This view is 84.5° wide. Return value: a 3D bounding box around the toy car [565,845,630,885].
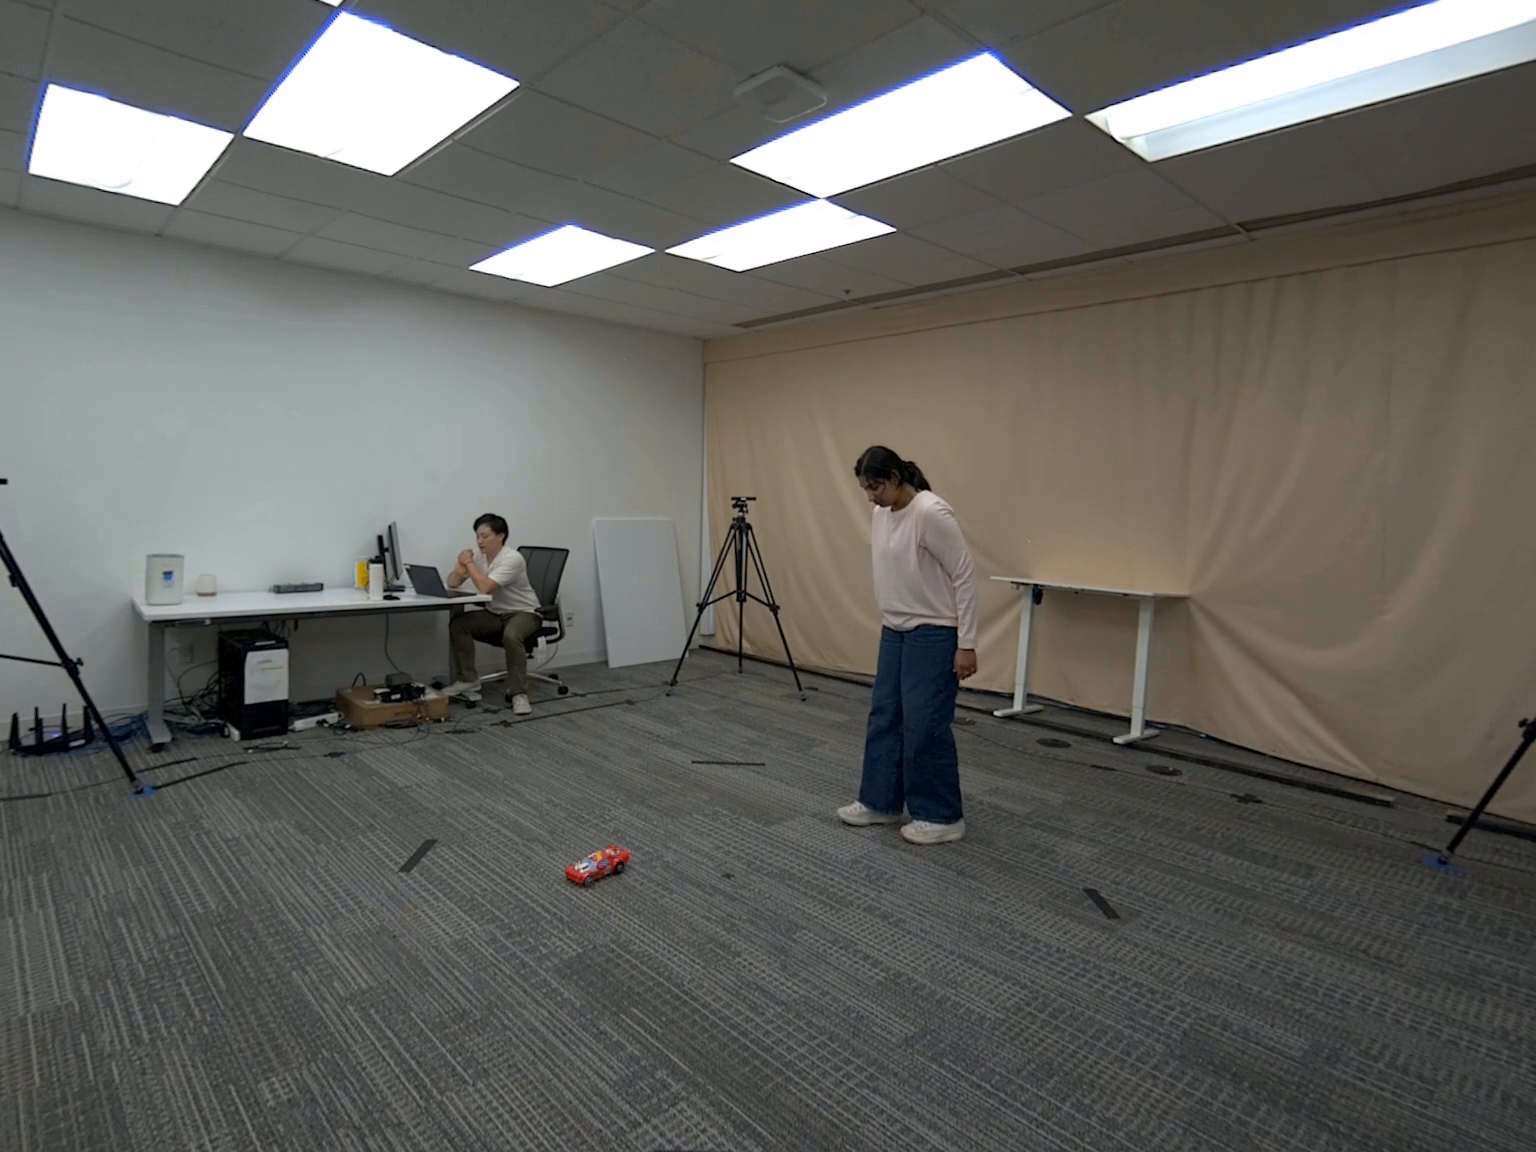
[{"bbox_3d":[-0.629,1.065,3.091,0.133,0.082,0.251,5,17,39],"label":"toy car"}]
